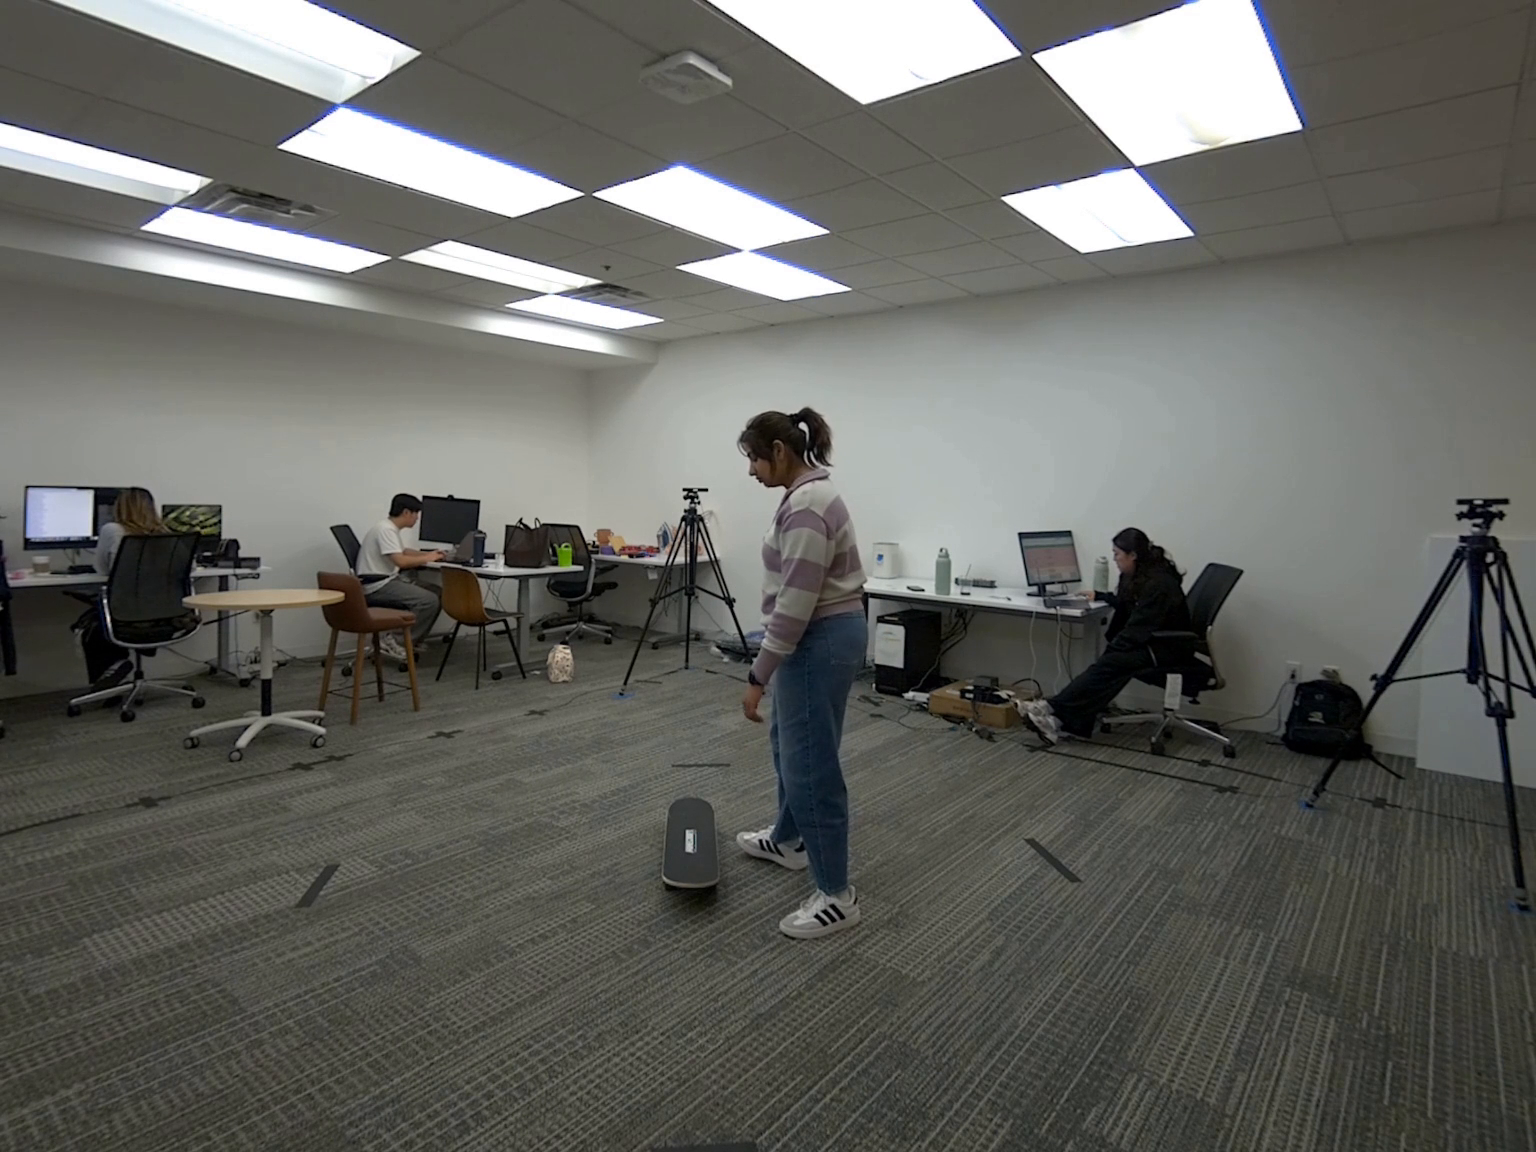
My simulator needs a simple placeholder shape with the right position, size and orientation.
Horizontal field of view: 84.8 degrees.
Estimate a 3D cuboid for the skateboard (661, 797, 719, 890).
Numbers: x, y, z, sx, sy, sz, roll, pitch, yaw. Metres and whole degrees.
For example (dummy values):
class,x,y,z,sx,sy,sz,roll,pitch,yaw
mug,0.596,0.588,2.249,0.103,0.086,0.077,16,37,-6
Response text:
class,x,y,z,sx,sy,sz,roll,pitch,yaw
skateboard,-0.296,1.007,3.146,0.193,0.110,0.791,1,6,-5
